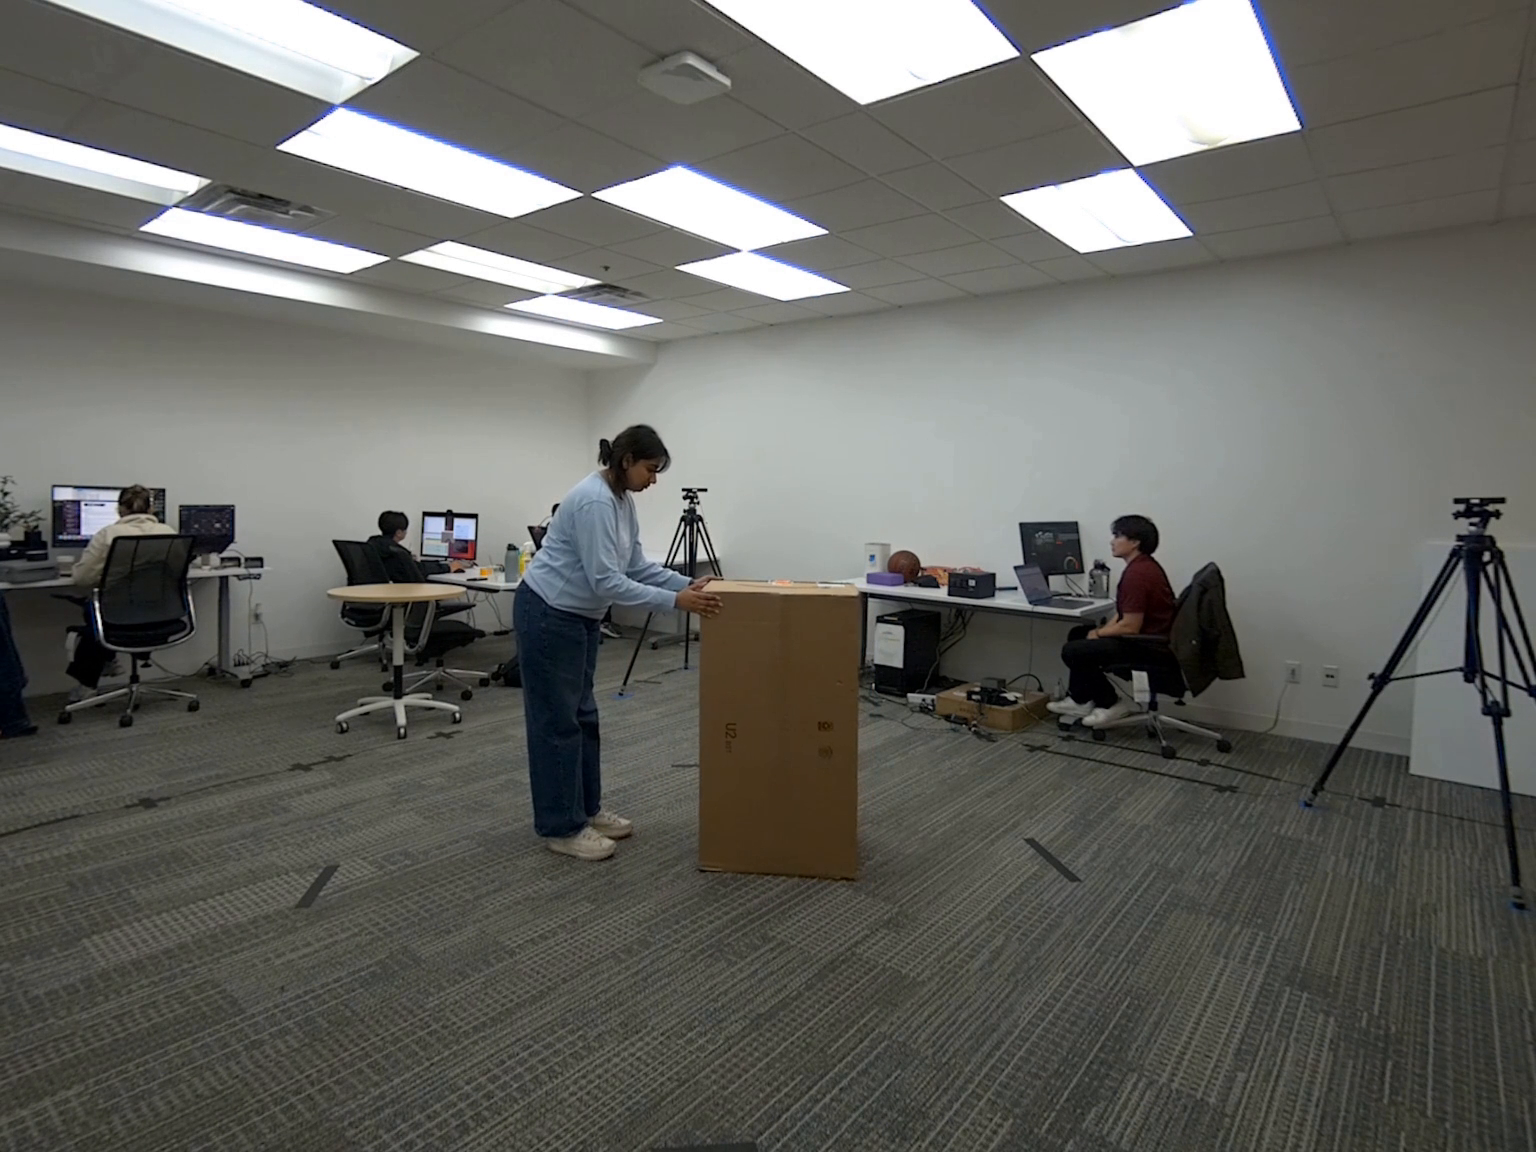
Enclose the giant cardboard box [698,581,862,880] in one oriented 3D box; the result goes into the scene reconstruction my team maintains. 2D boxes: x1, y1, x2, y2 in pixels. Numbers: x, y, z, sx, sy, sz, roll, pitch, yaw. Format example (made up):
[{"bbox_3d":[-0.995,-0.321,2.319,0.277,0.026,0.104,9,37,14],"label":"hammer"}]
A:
[{"bbox_3d":[0.040,0.551,3.251,0.581,1.023,0.425,1,3,5],"label":"giant cardboard box"}]
